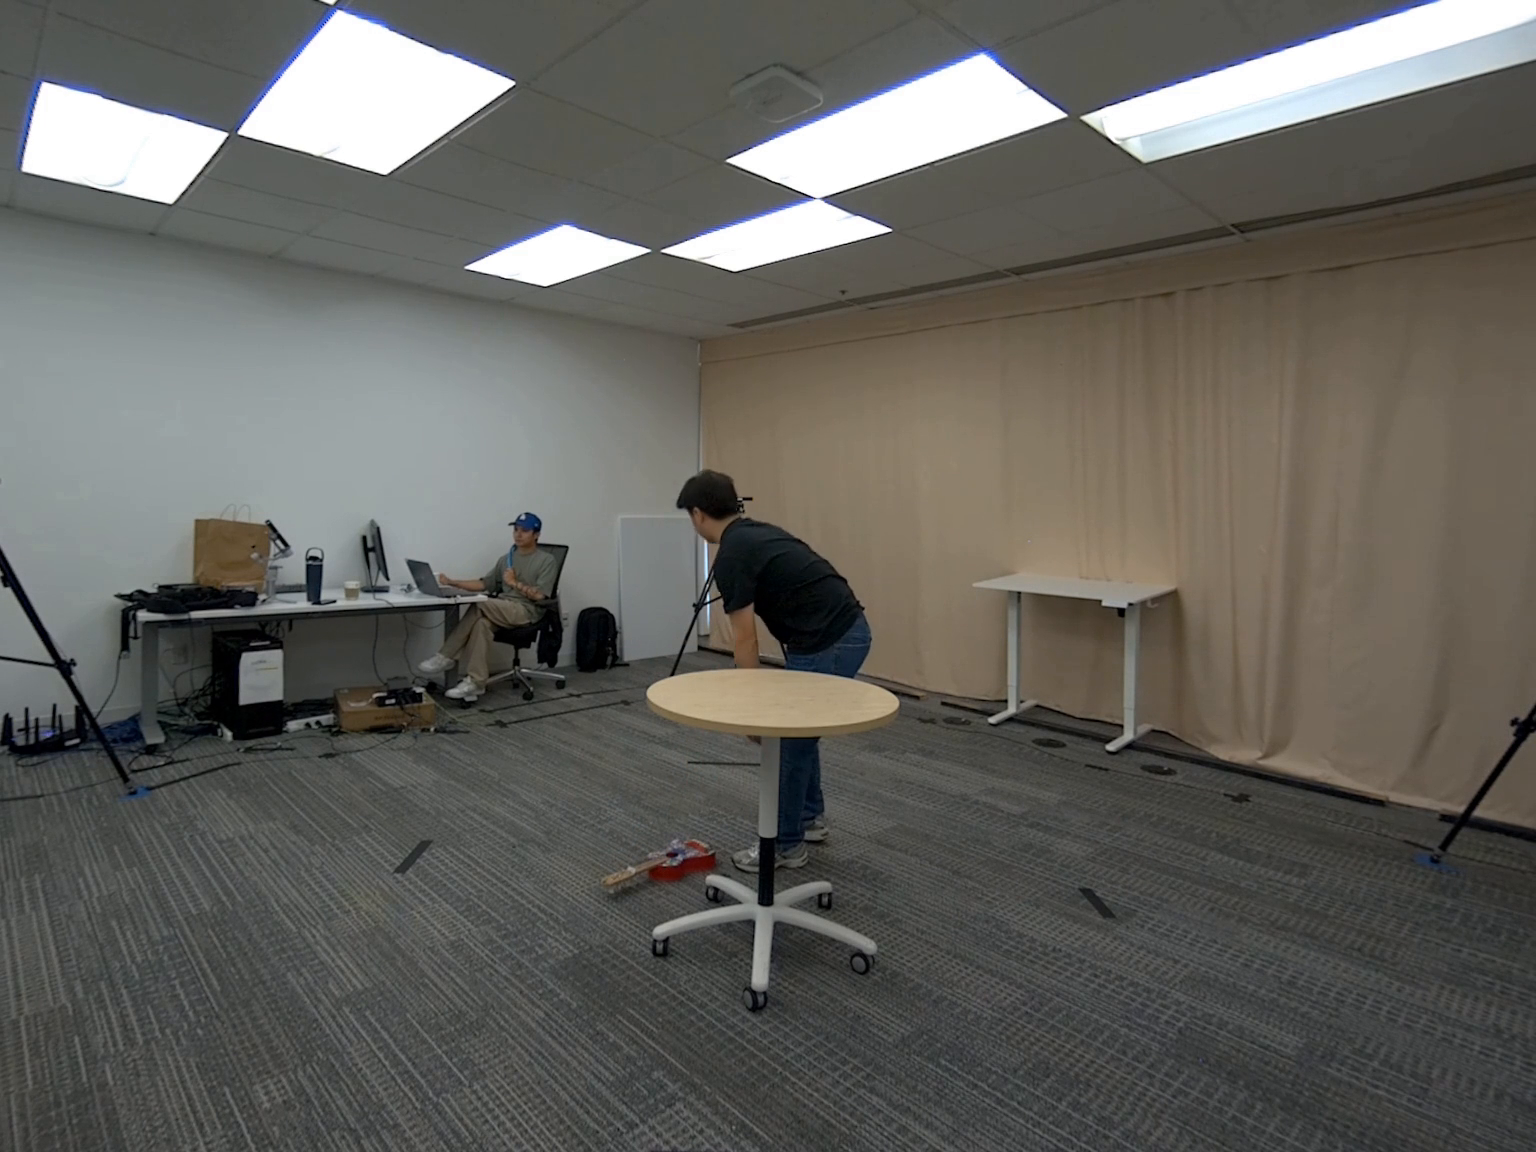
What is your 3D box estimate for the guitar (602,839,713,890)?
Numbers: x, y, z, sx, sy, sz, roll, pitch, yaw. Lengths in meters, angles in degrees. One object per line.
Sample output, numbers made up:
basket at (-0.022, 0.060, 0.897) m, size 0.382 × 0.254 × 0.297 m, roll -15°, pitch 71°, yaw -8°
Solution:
guitar at (-0.433, 1.068, 3.100) m, size 0.486 × 0.070 × 0.198 m, roll -2°, pitch 7°, yaw -41°
